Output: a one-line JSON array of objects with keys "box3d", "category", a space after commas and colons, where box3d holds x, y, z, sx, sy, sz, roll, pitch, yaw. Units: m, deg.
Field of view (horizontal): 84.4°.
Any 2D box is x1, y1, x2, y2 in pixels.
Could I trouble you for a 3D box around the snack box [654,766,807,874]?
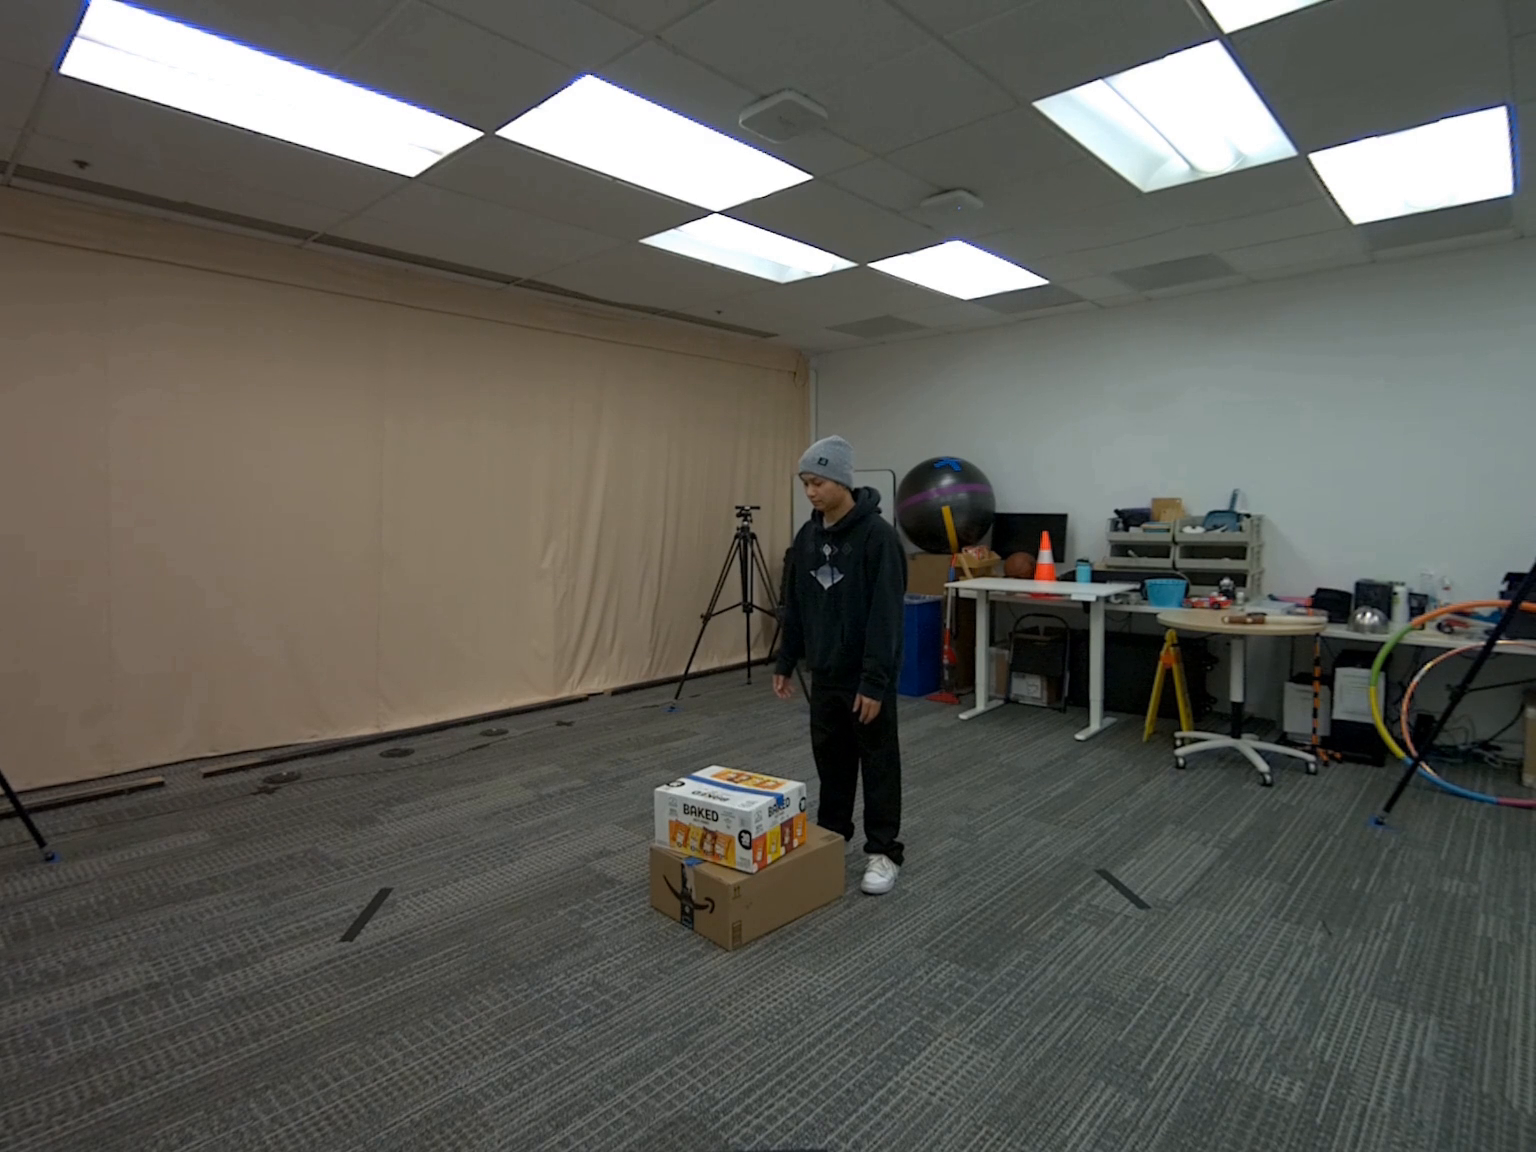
[{"box3d": [-0.125, 0.831, 2.919, 0.418, 0.205, 0.330, 2, 4, 35], "category": "snack box"}]
